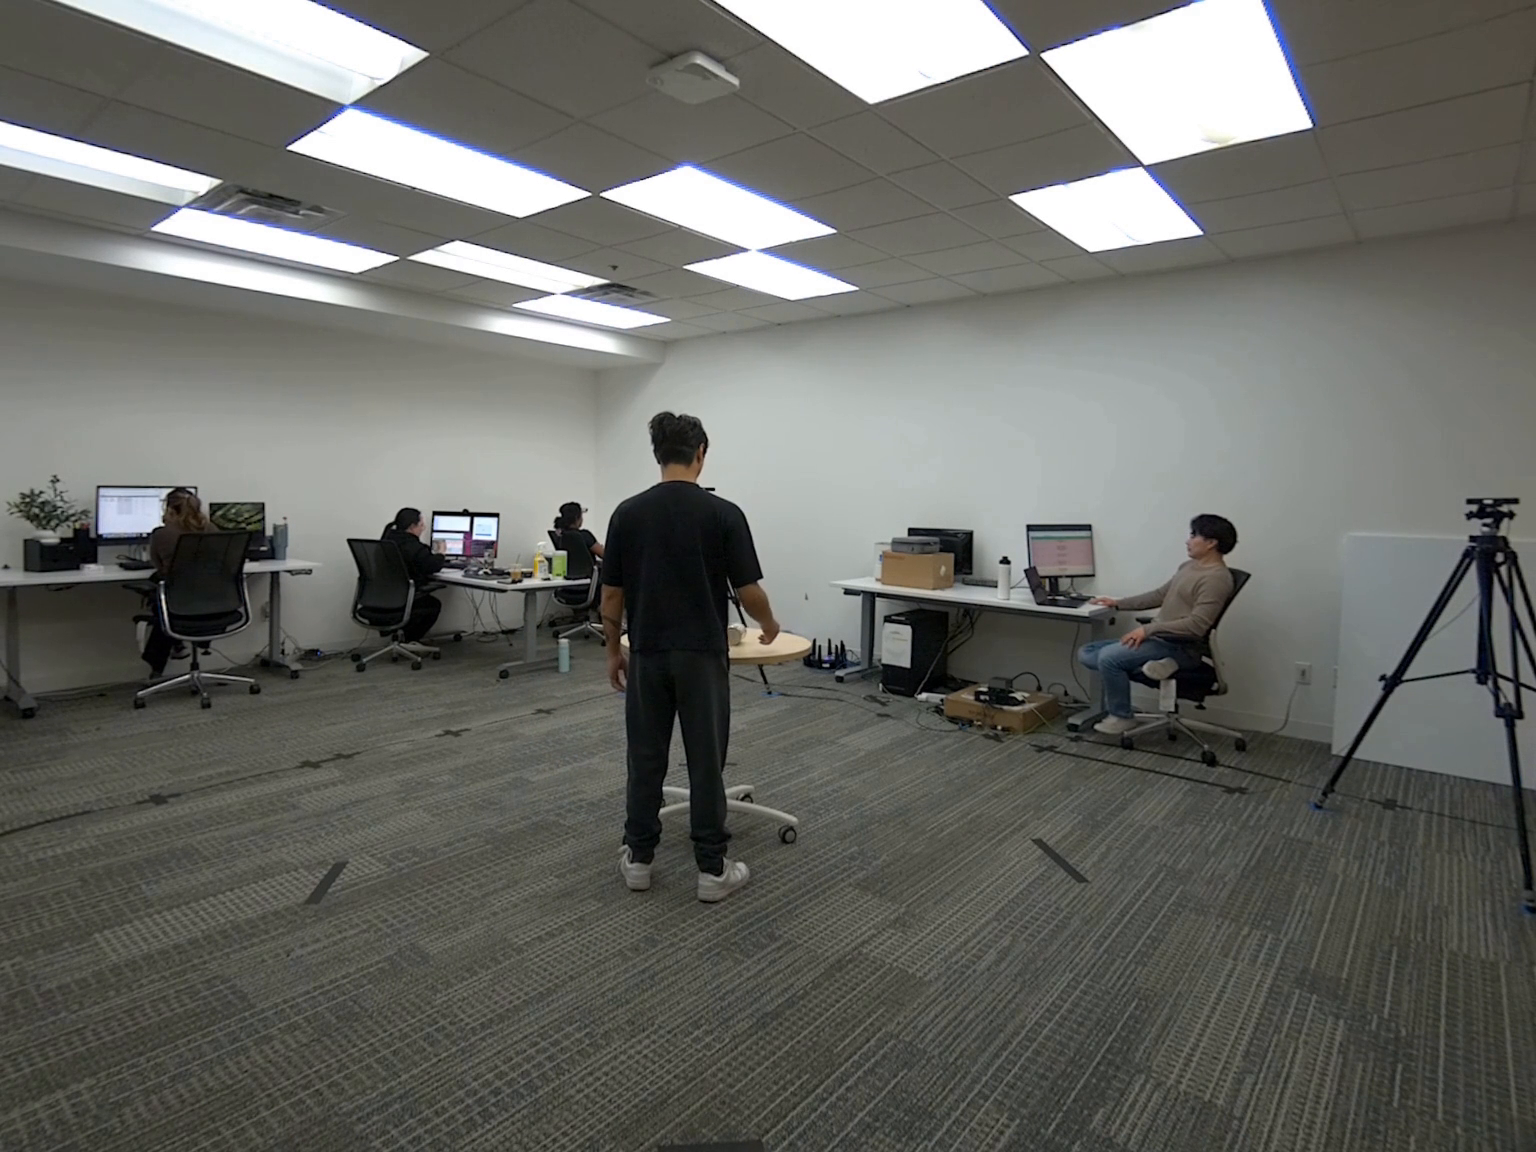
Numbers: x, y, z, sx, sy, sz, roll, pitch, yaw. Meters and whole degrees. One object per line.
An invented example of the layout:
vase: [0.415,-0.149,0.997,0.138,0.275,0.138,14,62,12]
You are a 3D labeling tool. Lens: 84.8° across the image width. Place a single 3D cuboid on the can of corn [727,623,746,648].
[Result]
can of corn: [-0.140,0.223,3.358,0.074,0.074,0.111,1,6,0]
